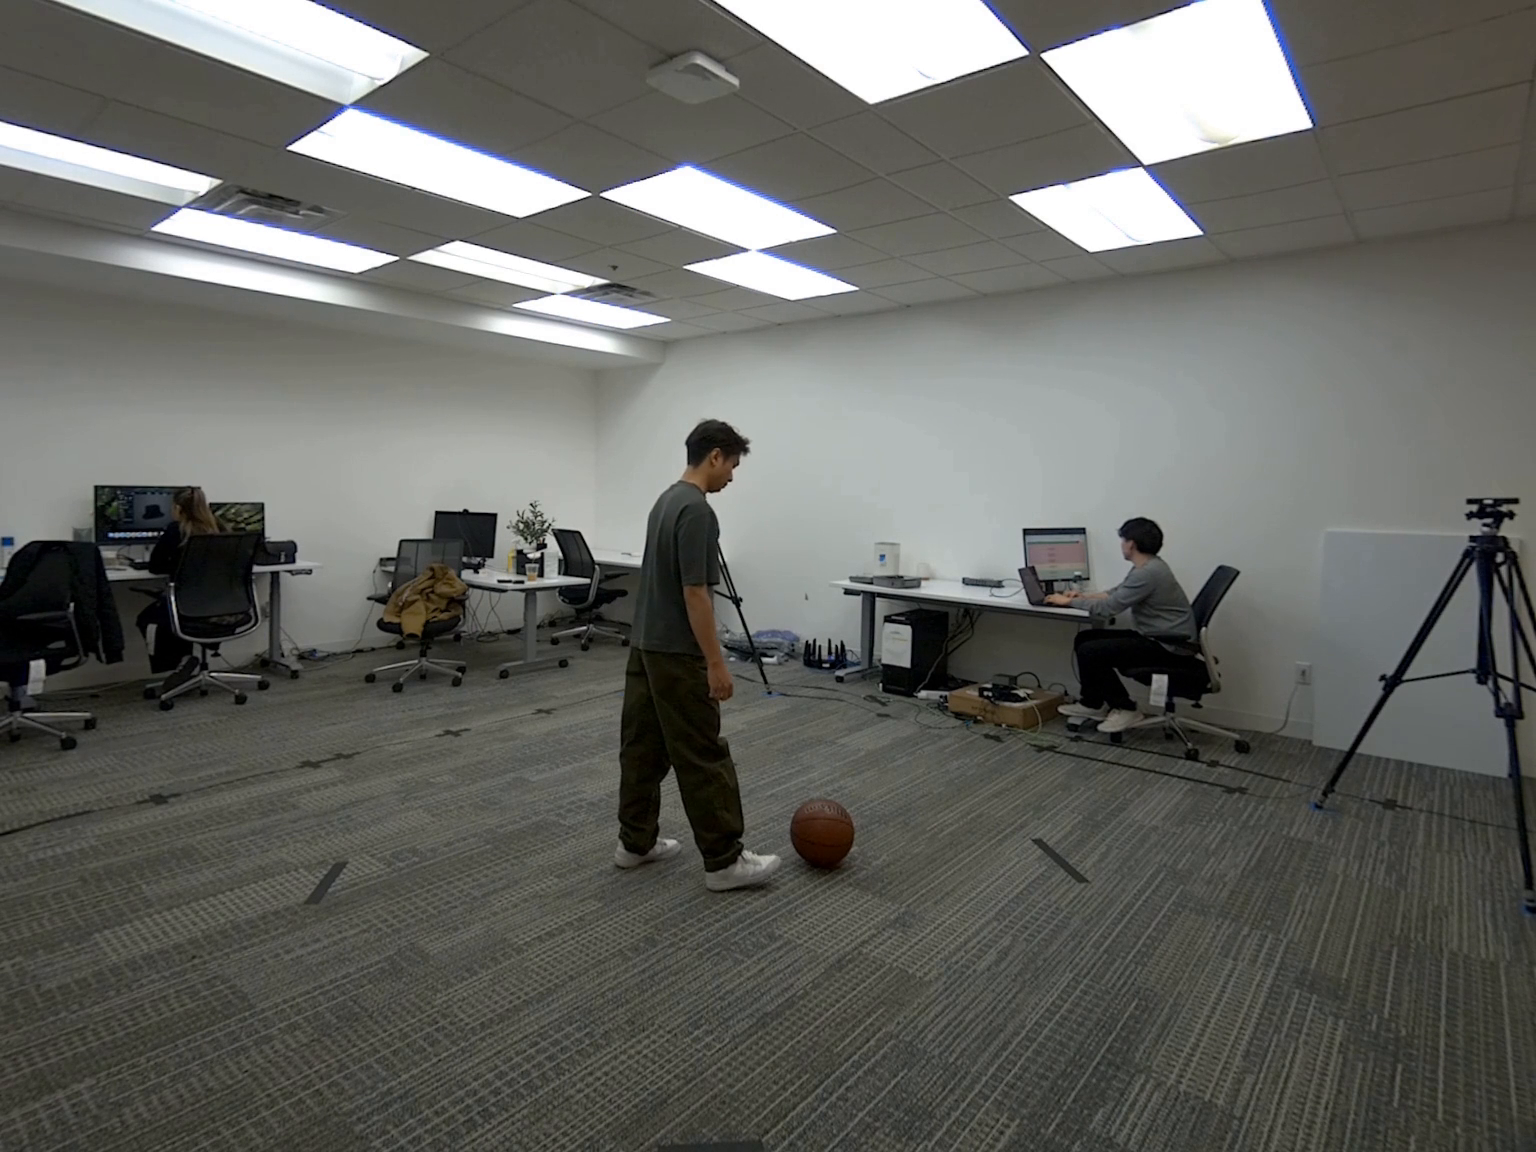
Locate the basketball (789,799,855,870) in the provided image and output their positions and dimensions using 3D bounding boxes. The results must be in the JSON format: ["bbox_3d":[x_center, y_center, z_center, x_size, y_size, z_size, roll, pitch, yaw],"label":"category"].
[{"bbox_3d":[0.193,0.950,3.173,0.235,0.235,0.237,1,4,-2],"label":"basketball"}]
